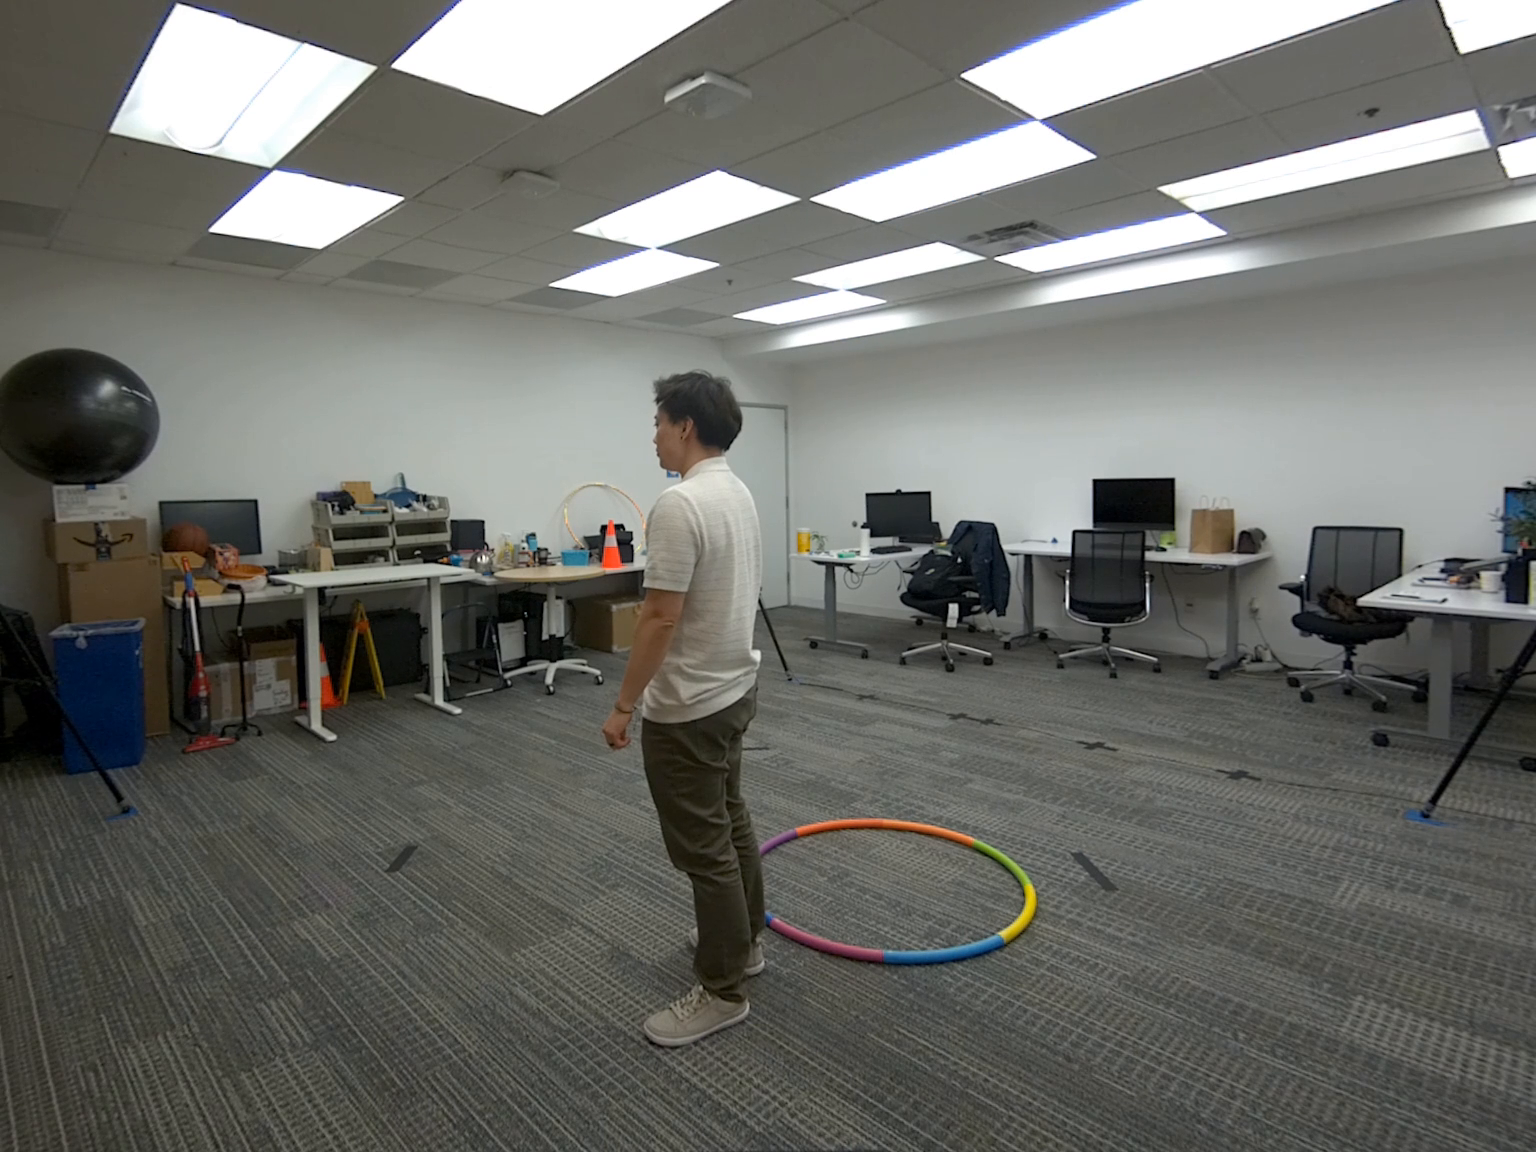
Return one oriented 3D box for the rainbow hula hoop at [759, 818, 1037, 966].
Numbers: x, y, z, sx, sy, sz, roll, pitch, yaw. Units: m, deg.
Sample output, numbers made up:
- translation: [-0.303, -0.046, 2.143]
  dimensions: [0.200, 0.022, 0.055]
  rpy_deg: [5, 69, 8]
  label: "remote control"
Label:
- translation: [0.393, 1.026, 2.932]
  dimensions: [0.978, 0.035, 0.984]
  rpy_deg: [-2, 6, -2]
  label: "rainbow hula hoop"
